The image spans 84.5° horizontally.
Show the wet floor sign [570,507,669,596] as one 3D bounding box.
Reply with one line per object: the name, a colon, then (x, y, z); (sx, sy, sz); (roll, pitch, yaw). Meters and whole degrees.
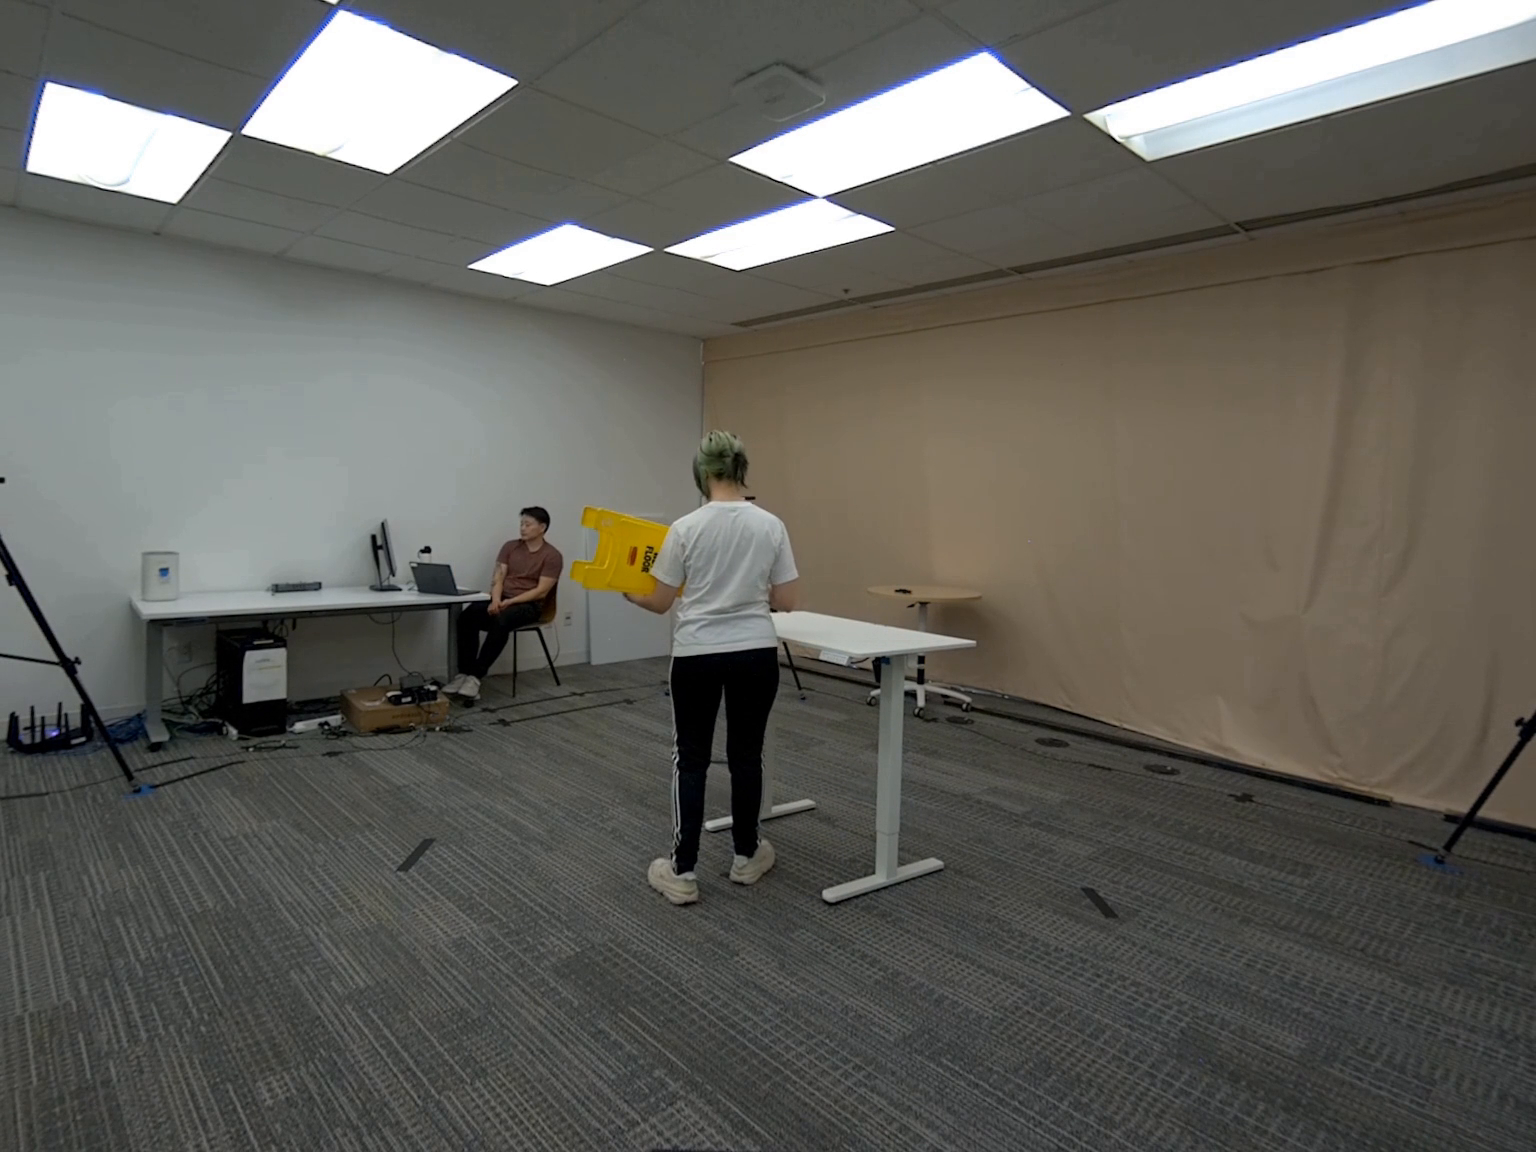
wet floor sign: (-0.377, -0.050, 3.110); (0.633, 0.282, 0.295); (12, 1, -23)
